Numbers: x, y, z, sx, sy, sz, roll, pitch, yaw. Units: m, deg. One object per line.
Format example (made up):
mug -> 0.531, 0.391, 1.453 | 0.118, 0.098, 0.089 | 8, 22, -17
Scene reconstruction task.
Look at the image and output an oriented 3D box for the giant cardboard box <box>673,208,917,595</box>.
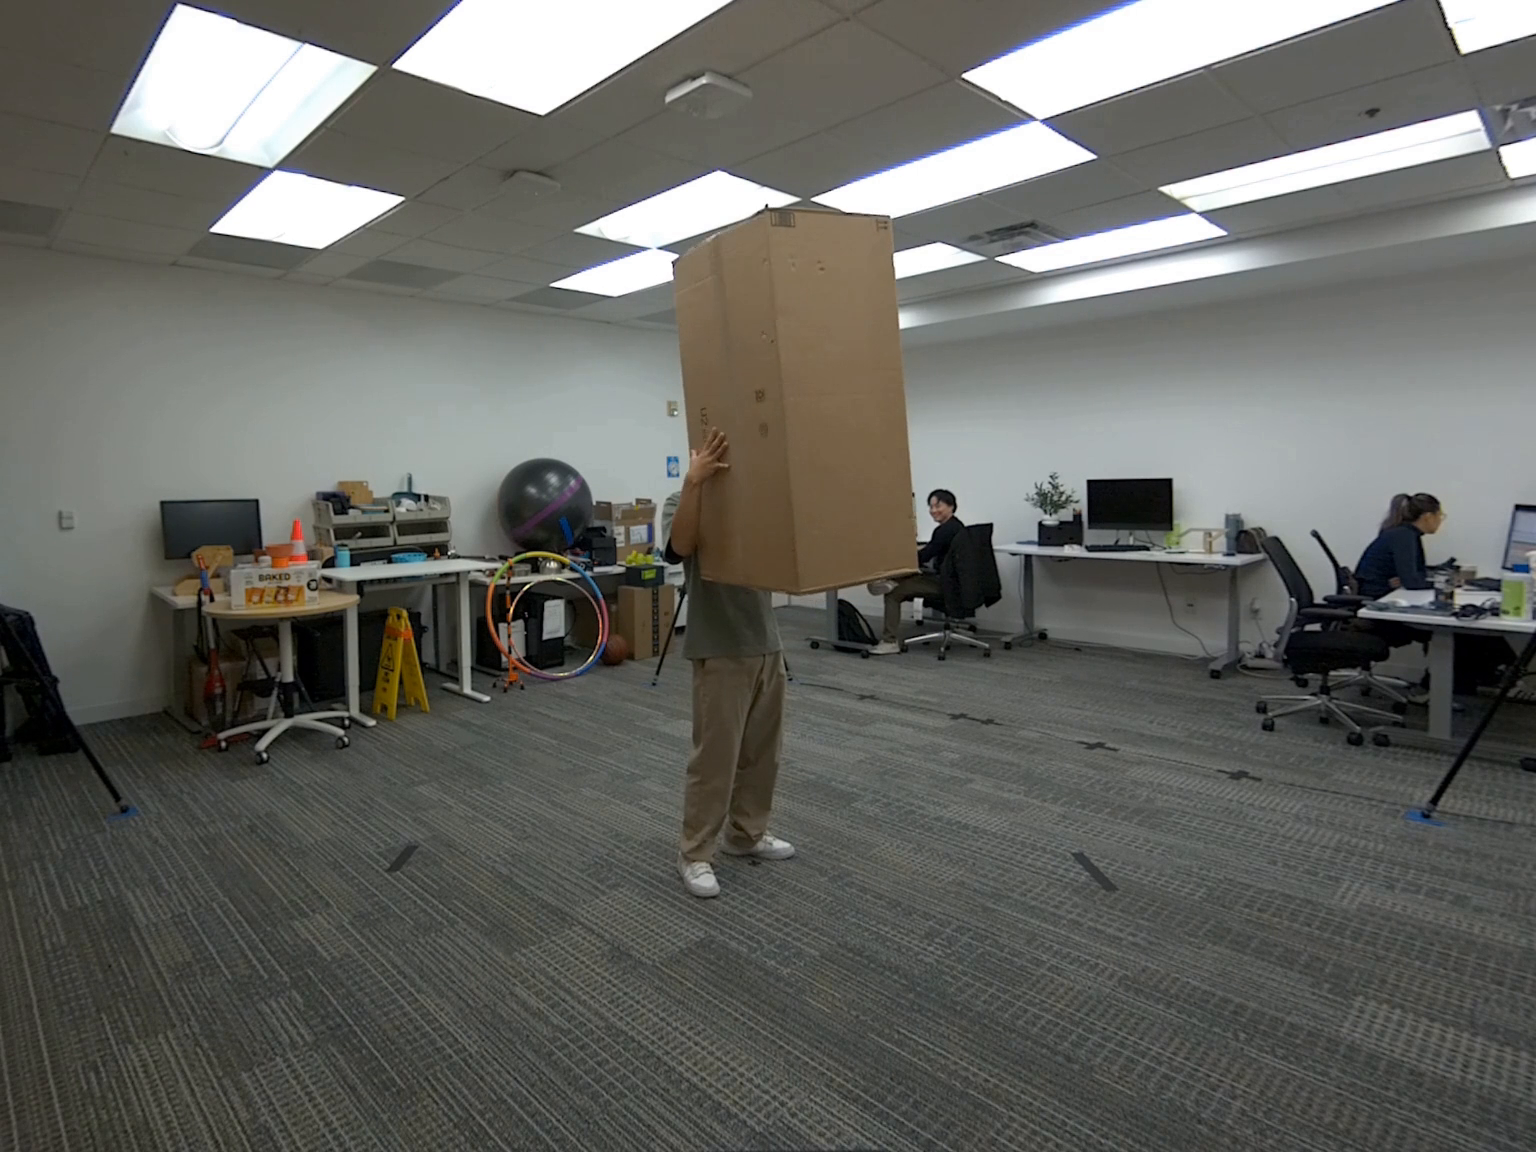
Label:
giant cardboard box -> 0.070, -0.501, 2.590 | 0.417, 1.021, 0.593 | -8, 6, -30
